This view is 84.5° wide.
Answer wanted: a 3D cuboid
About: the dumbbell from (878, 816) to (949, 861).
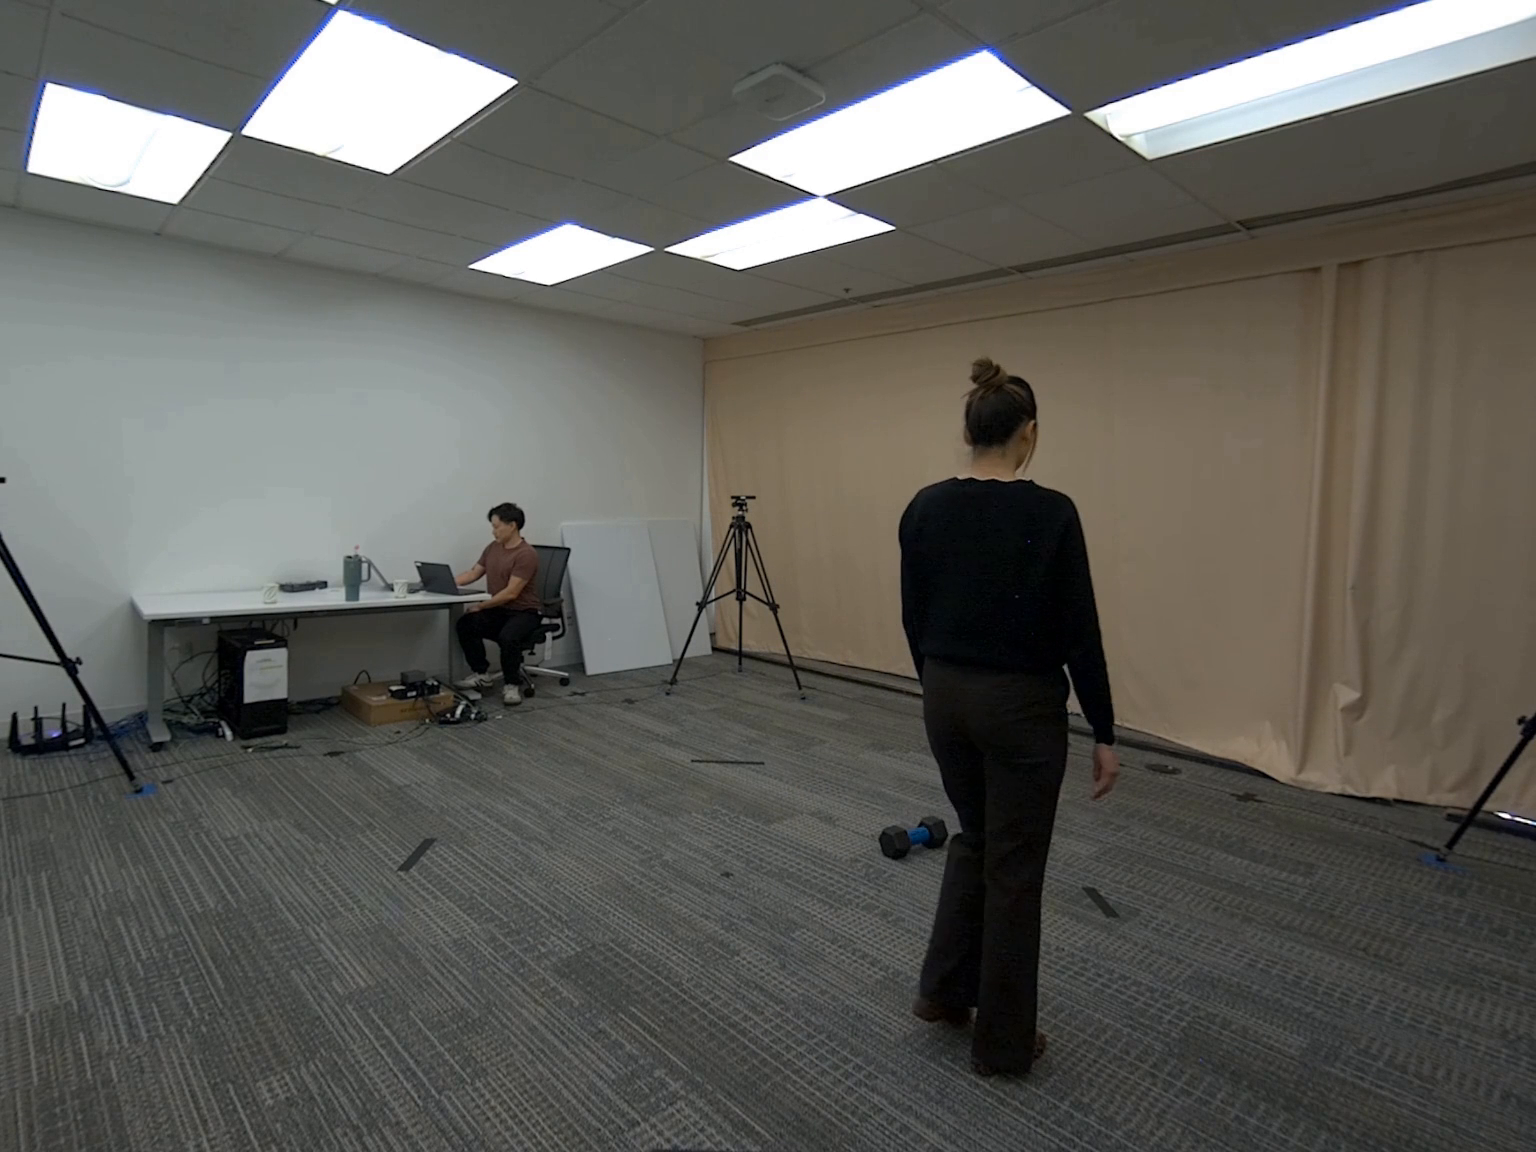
[{"bbox_3d":[0.574,1.042,3.363,0.287,0.121,0.112,-2,36,-35],"label":"dumbbell"}]
